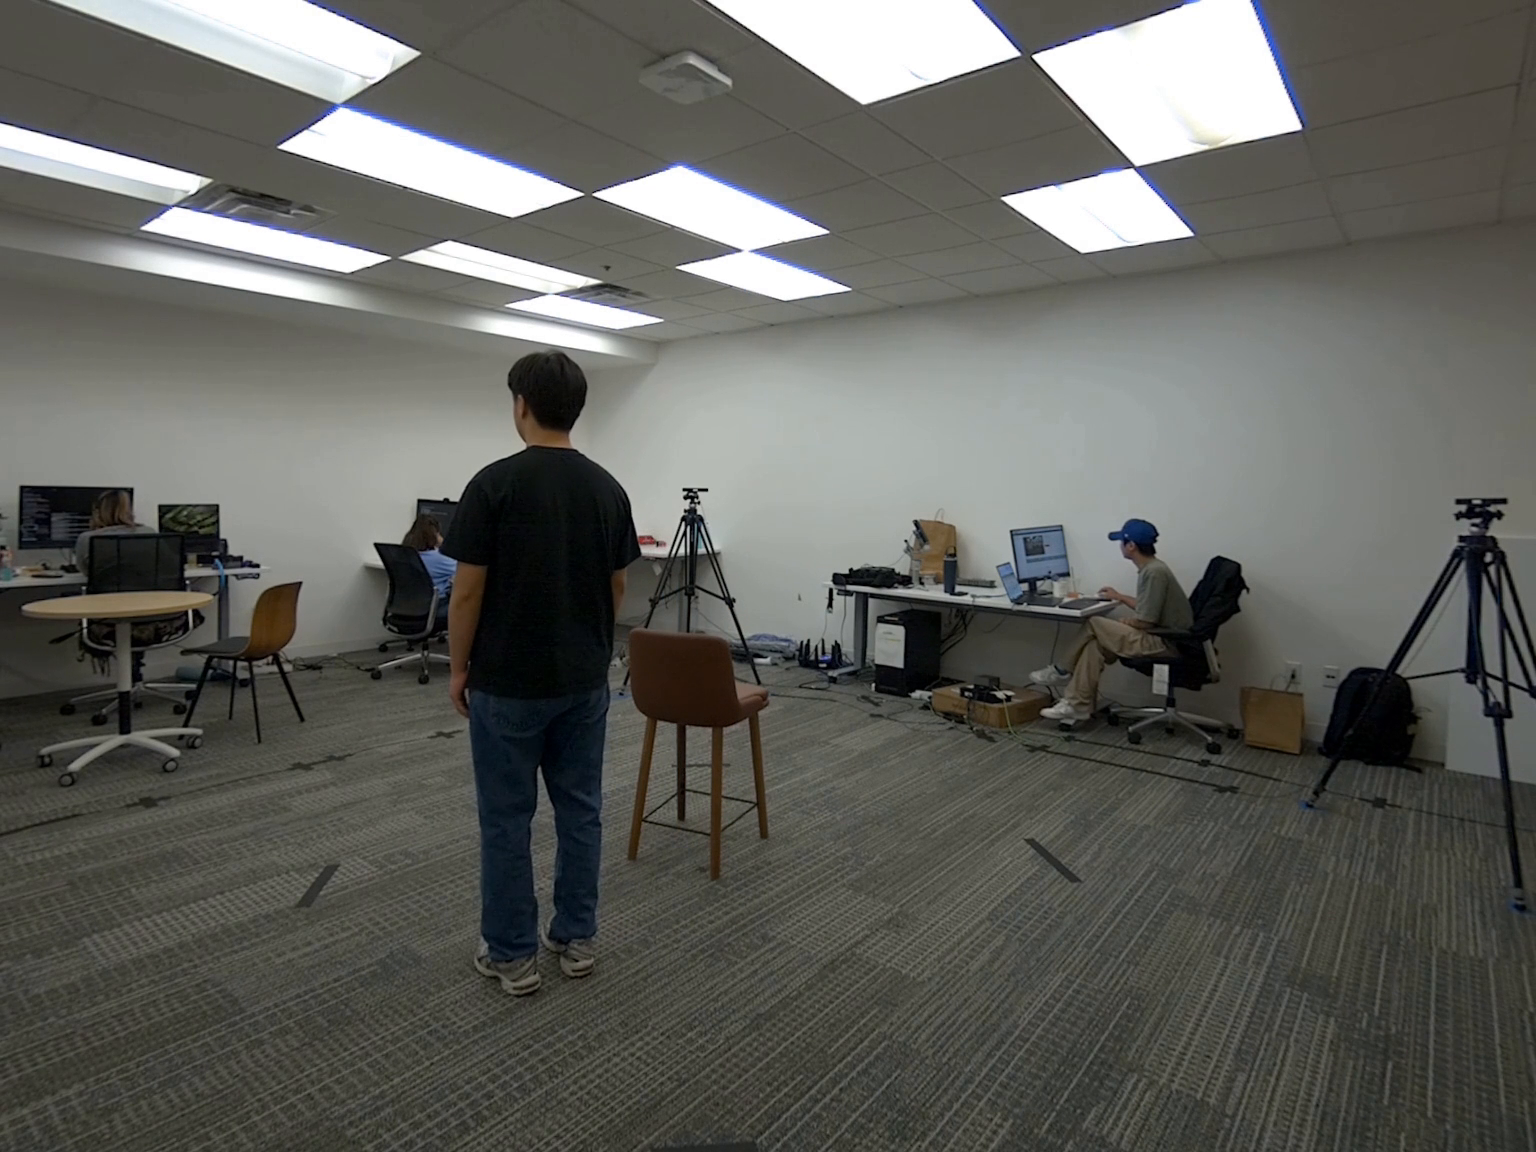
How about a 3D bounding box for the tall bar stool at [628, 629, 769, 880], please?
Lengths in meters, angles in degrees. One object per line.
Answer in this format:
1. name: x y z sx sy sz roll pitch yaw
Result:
1. tall bar stool: -0.275 0.615 3.279 0.468 0.886 0.458 2 5 25
